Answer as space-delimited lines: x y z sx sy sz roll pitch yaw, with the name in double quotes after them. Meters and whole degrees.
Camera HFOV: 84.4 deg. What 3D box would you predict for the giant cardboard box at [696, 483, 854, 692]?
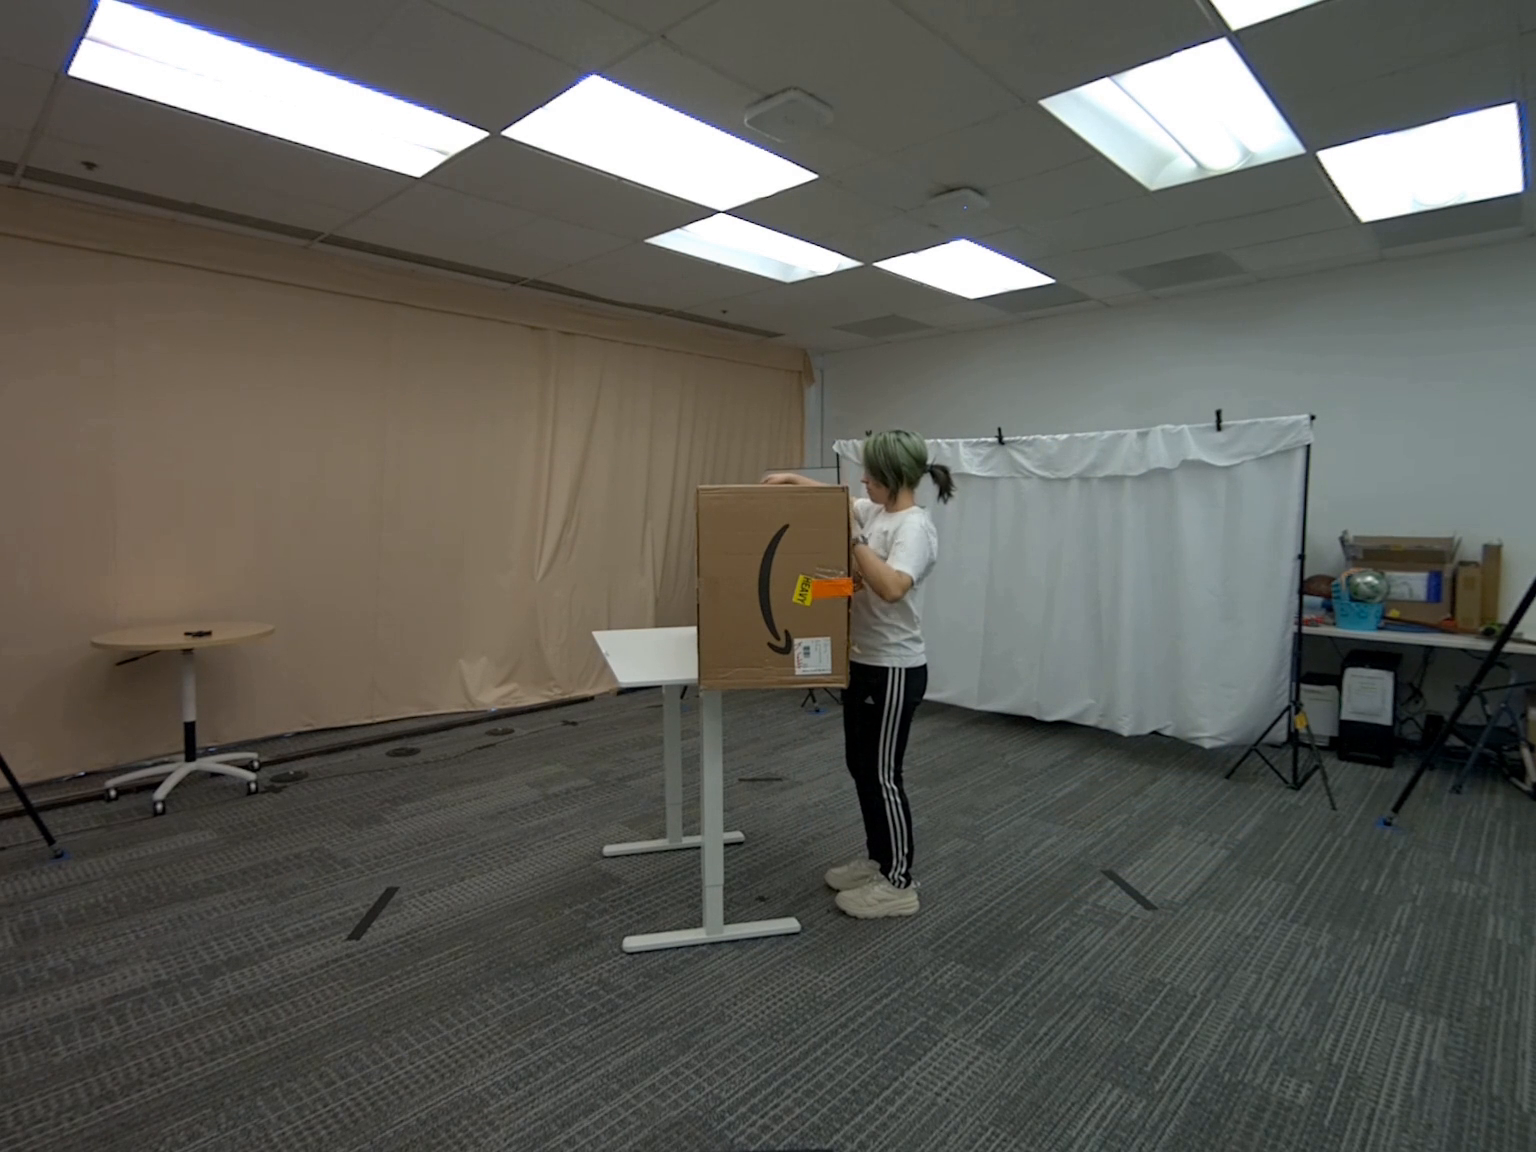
-0.027 -0.018 2.853 0.445 0.582 1.034 0 5 -5 "giant cardboard box"
